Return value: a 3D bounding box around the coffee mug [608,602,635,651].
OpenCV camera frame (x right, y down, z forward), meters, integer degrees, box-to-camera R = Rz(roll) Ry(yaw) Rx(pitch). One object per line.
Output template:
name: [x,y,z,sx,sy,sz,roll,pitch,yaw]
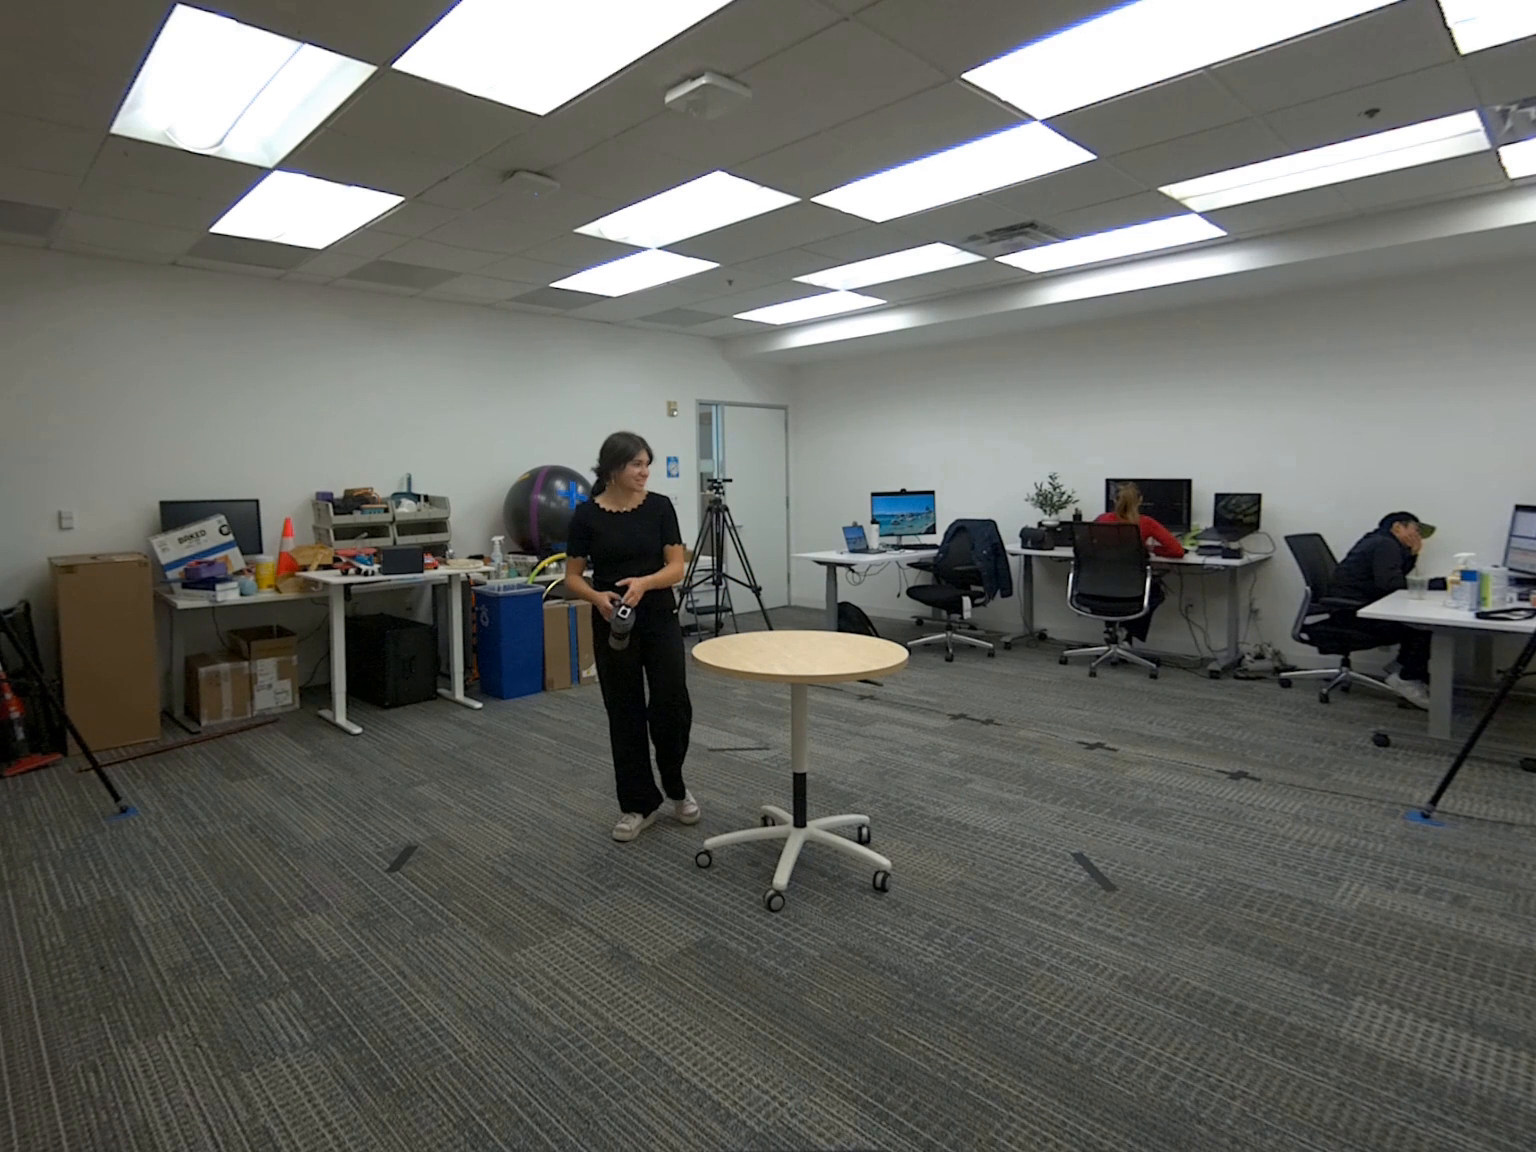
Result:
coffee mug: [-0.537,0.204,3.148,0.090,0.198,0.122,32,57,18]
